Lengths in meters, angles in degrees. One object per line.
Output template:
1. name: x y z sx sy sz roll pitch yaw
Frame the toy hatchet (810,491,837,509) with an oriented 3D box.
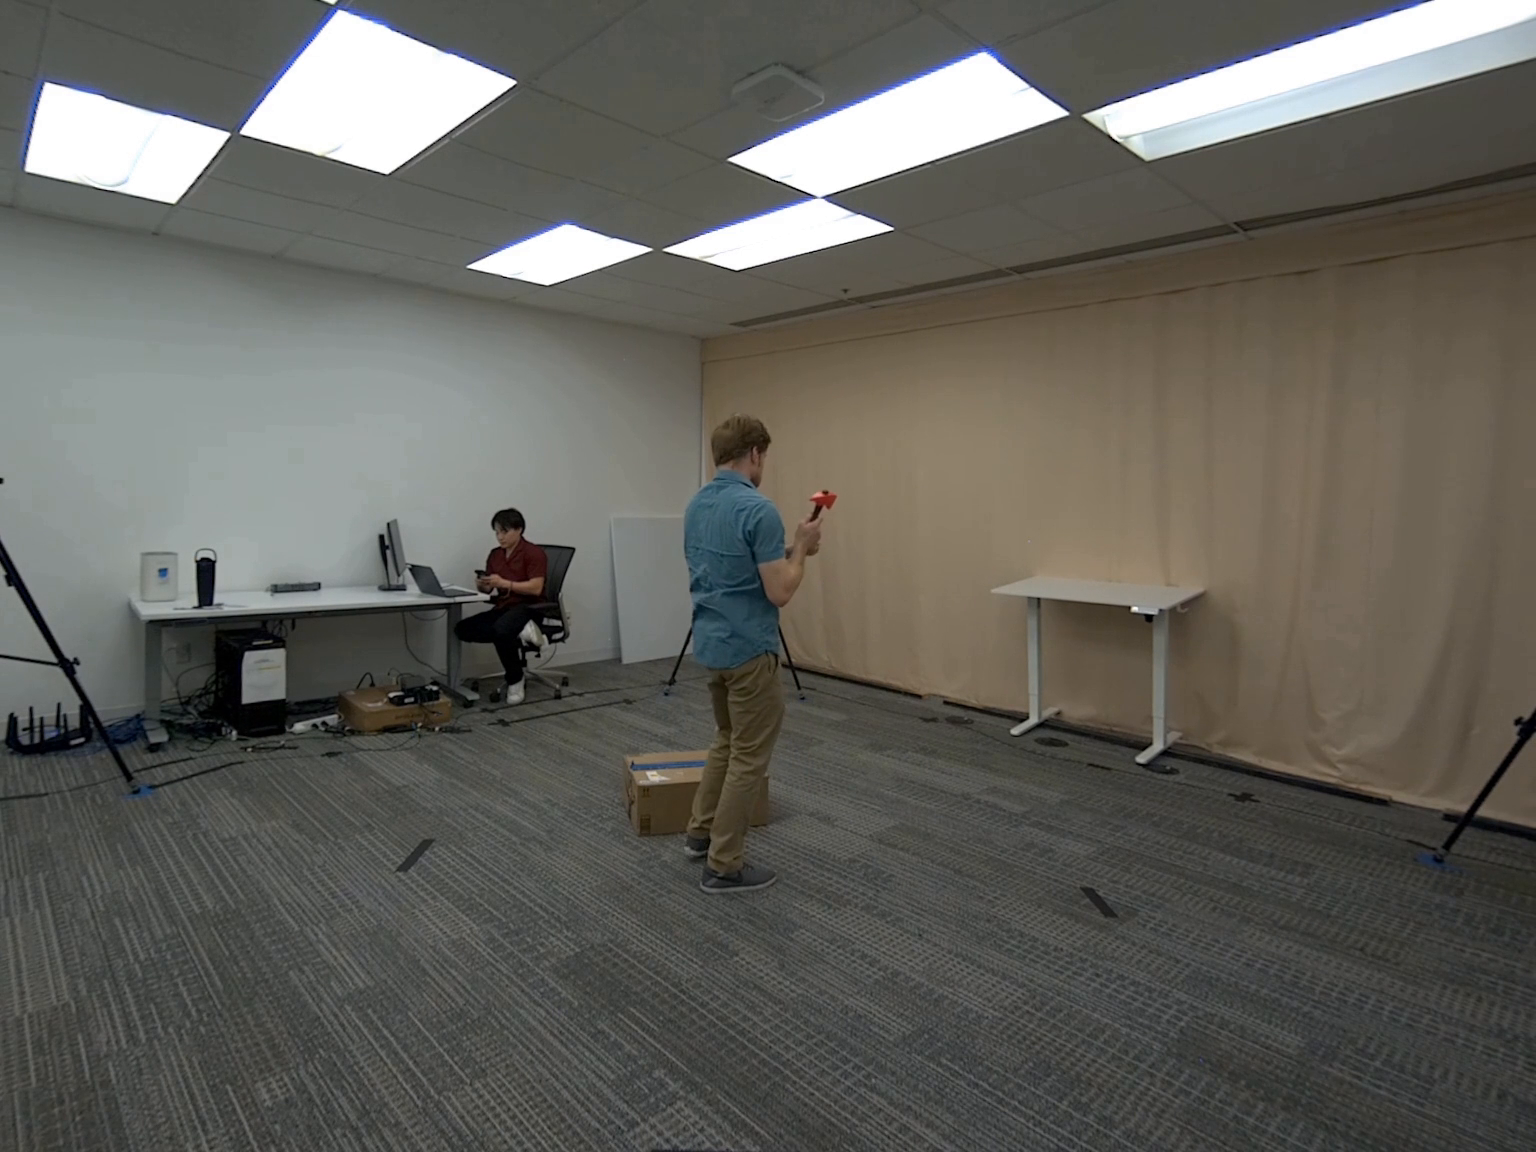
1. toy hatchet: 0.172 -0.206 3.029 0.130 0.265 0.030 -25 52 -27
